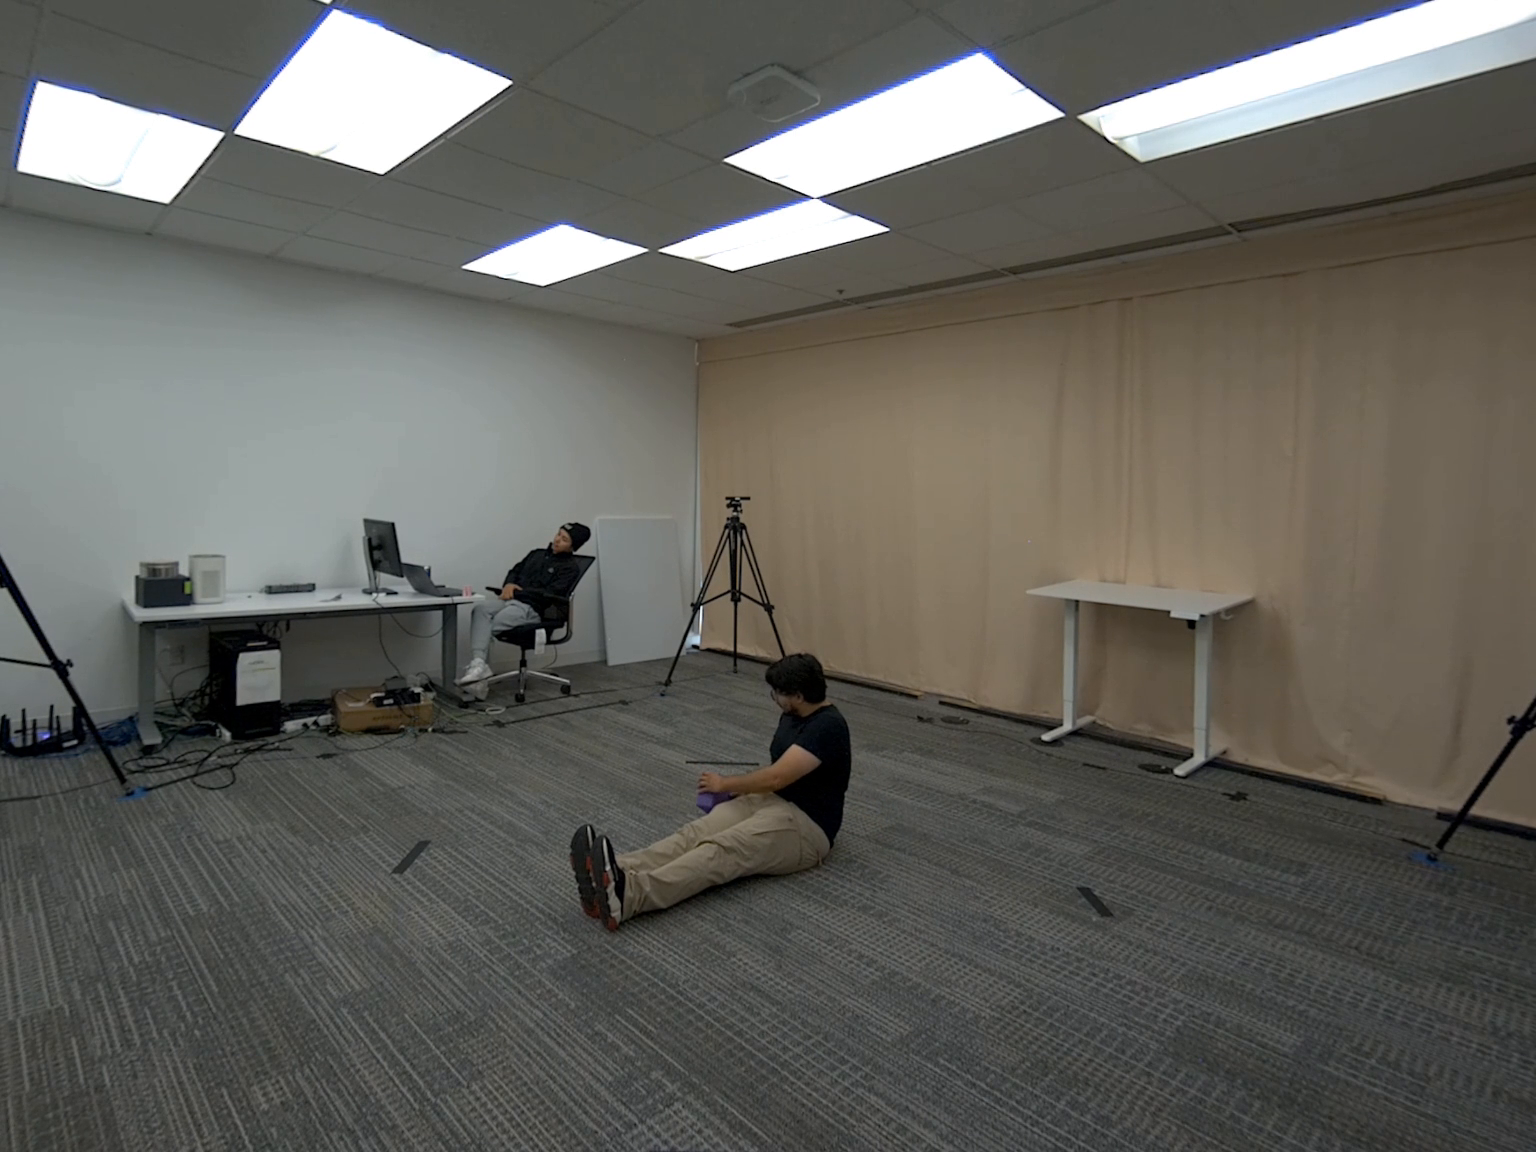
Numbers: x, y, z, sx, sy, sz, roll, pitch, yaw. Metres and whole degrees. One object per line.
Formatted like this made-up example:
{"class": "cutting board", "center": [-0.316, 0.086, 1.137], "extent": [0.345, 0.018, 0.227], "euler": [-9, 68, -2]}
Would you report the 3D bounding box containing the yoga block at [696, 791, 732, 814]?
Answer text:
{"class": "yoga block", "center": [-0.219, 0.899, 3.479], "extent": [0.077, 0.151, 0.224], "euler": [8, -28, 12]}
